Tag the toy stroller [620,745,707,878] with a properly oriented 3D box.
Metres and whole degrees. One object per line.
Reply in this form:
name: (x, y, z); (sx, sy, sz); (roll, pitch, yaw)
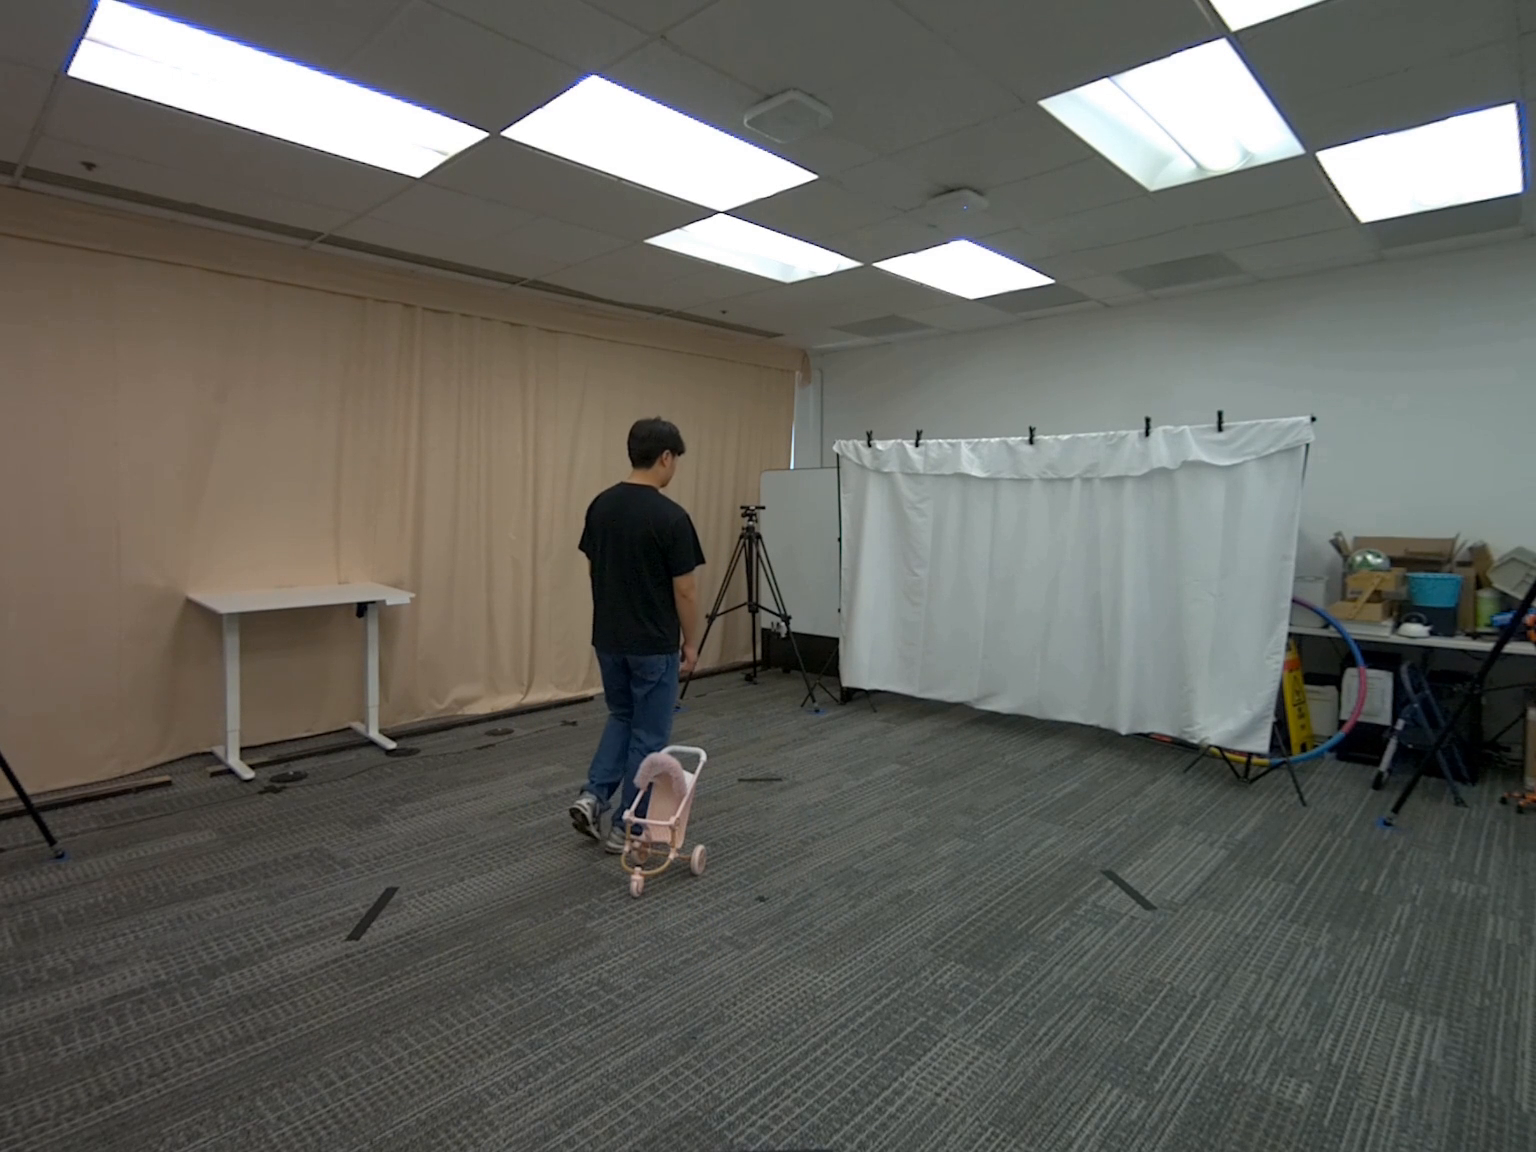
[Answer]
toy stroller: (-0.404, 0.908, 3.169); (0.289, 0.538, 0.330); (0, -12, 27)
